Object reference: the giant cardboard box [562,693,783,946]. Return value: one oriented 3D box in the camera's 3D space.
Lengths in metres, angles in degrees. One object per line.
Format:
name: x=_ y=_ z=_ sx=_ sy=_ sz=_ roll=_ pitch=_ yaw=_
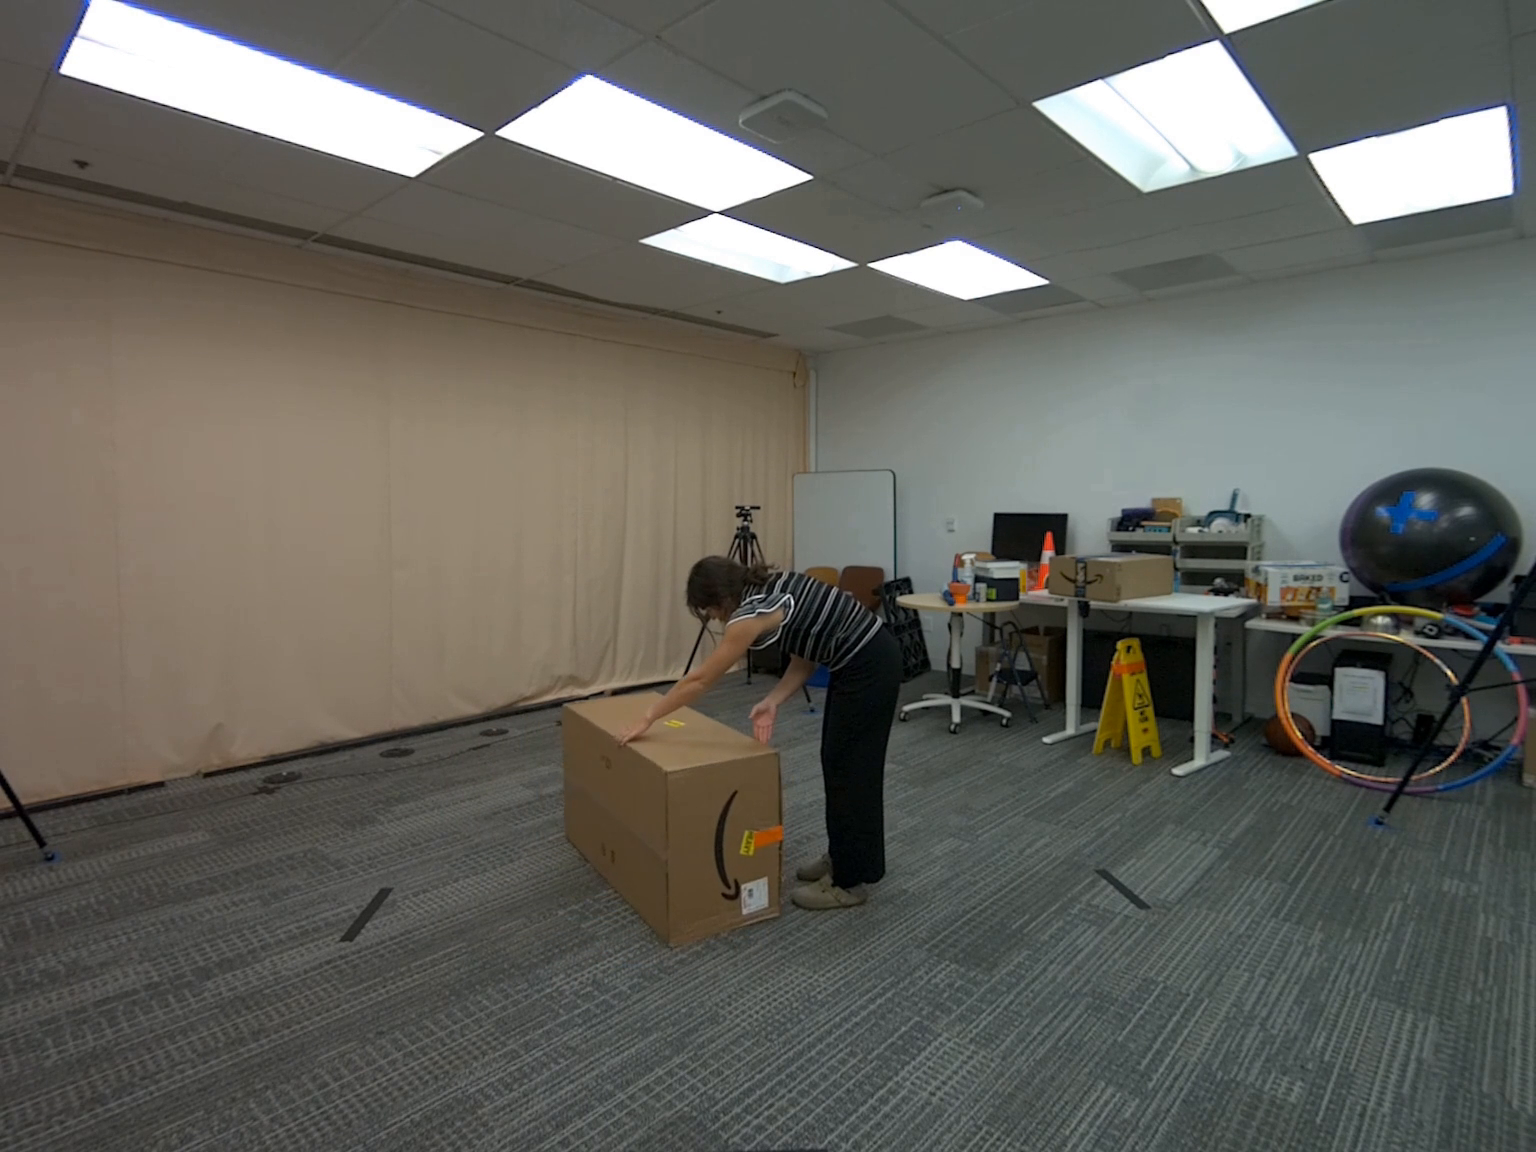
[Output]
giant cardboard box: x=-0.400 y=0.838 z=3.182 sx=0.415 sy=0.576 sz=1.056 roll=-2 pitch=5 yaw=-31
